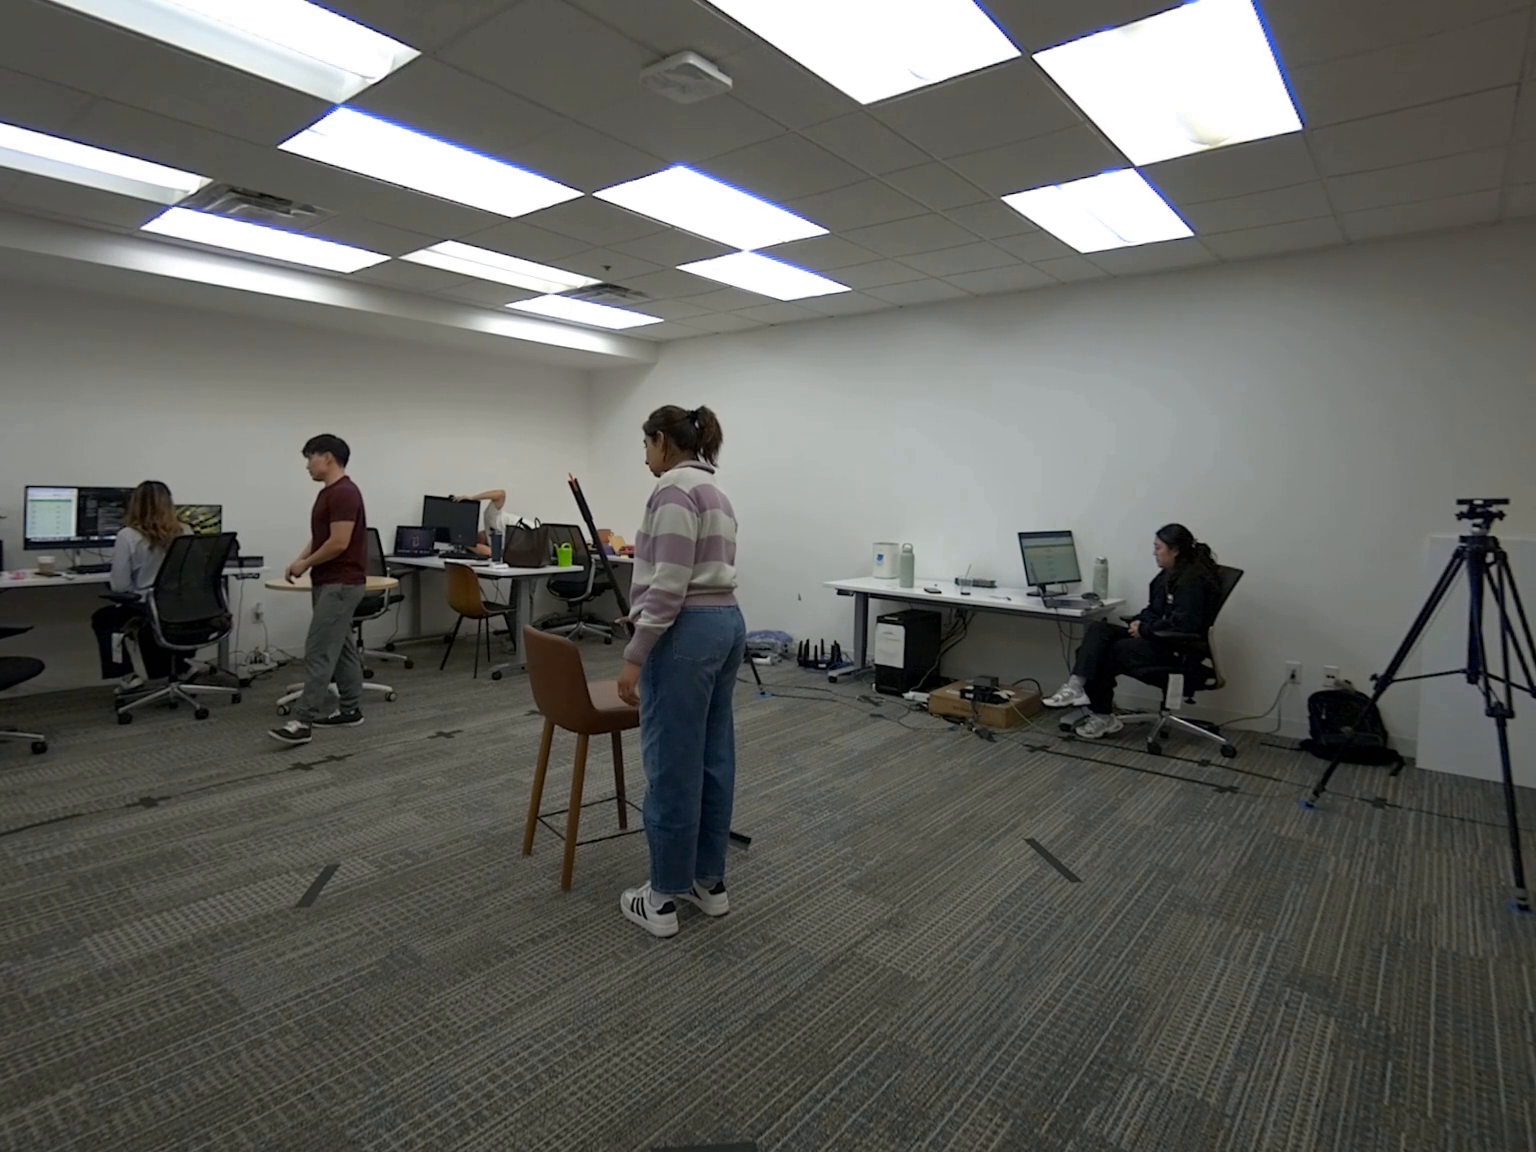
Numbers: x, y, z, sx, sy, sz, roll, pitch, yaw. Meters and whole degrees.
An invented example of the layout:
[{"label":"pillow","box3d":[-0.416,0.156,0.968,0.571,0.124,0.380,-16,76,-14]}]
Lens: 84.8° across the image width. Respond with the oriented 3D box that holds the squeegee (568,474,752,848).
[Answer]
[{"label":"squeegee","box3d":[-0.479,0.313,3.238,0.052,1.519,0.449,-28,12,-38]}]
